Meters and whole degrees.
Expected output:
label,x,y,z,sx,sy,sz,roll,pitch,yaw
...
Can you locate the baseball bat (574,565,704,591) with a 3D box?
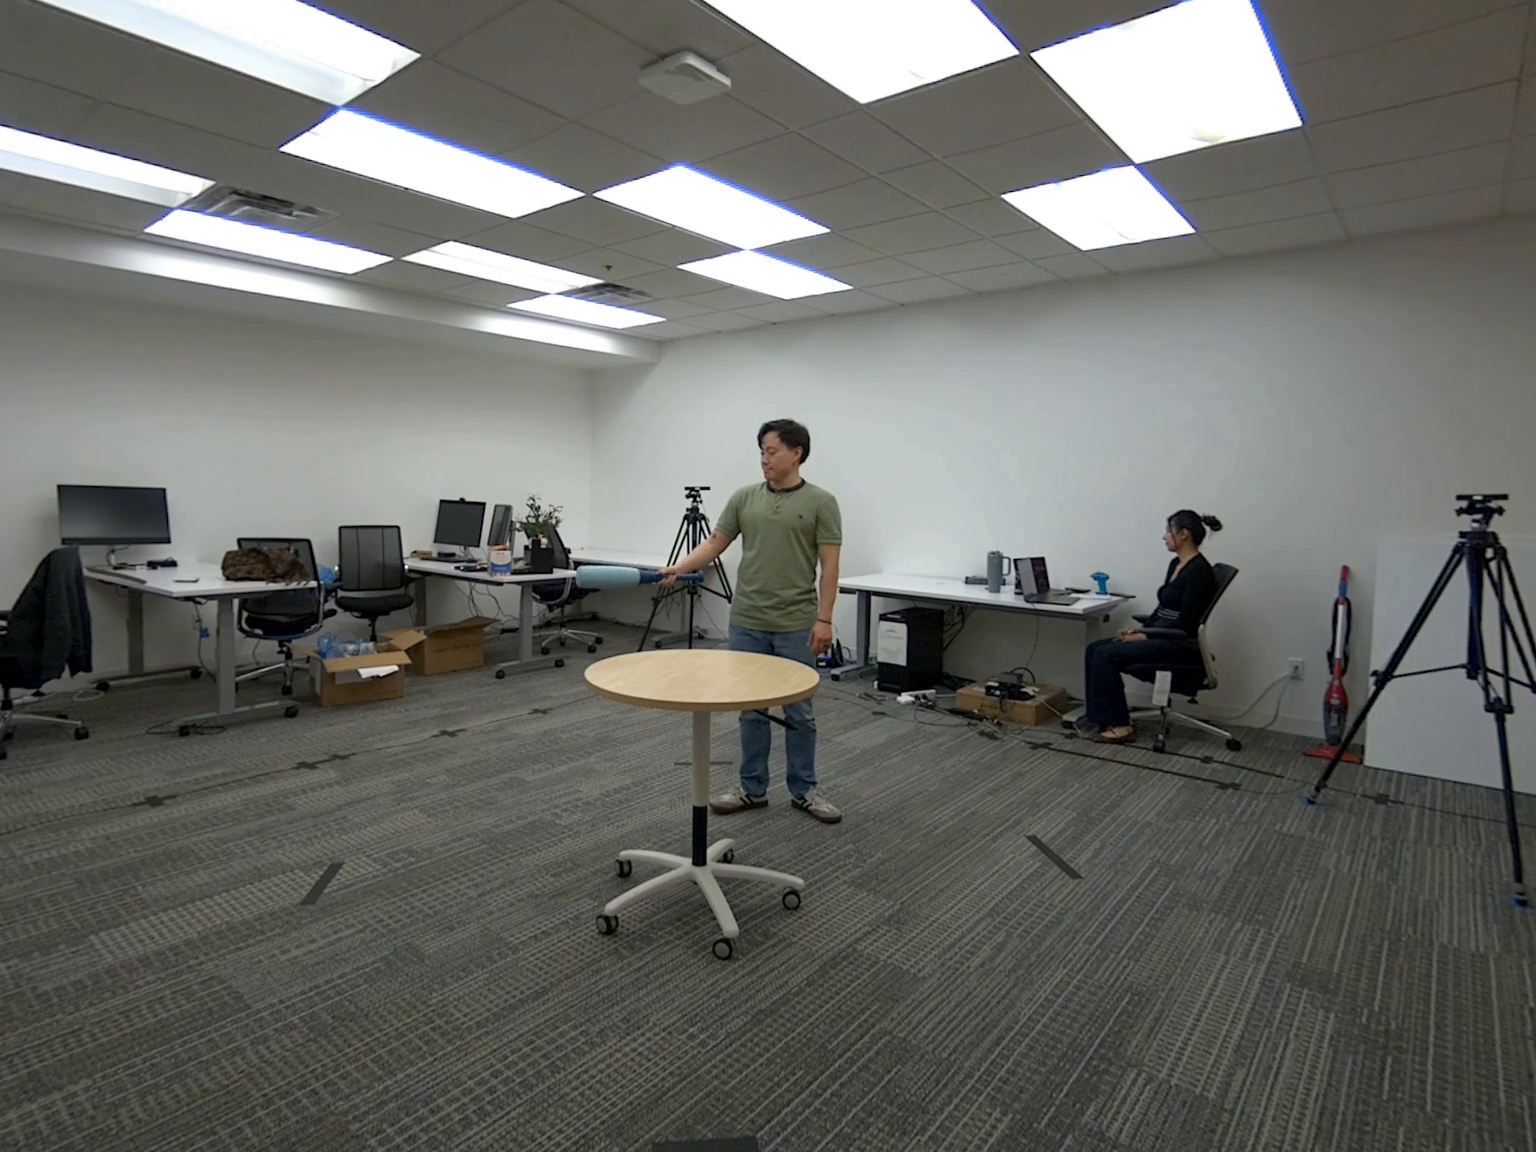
label,x,y,z,sx,sy,sz,roll,pitch,yaw
baseball bat,-0.517,-0.006,3.460,0.531,0.089,0.091,1,4,-21
